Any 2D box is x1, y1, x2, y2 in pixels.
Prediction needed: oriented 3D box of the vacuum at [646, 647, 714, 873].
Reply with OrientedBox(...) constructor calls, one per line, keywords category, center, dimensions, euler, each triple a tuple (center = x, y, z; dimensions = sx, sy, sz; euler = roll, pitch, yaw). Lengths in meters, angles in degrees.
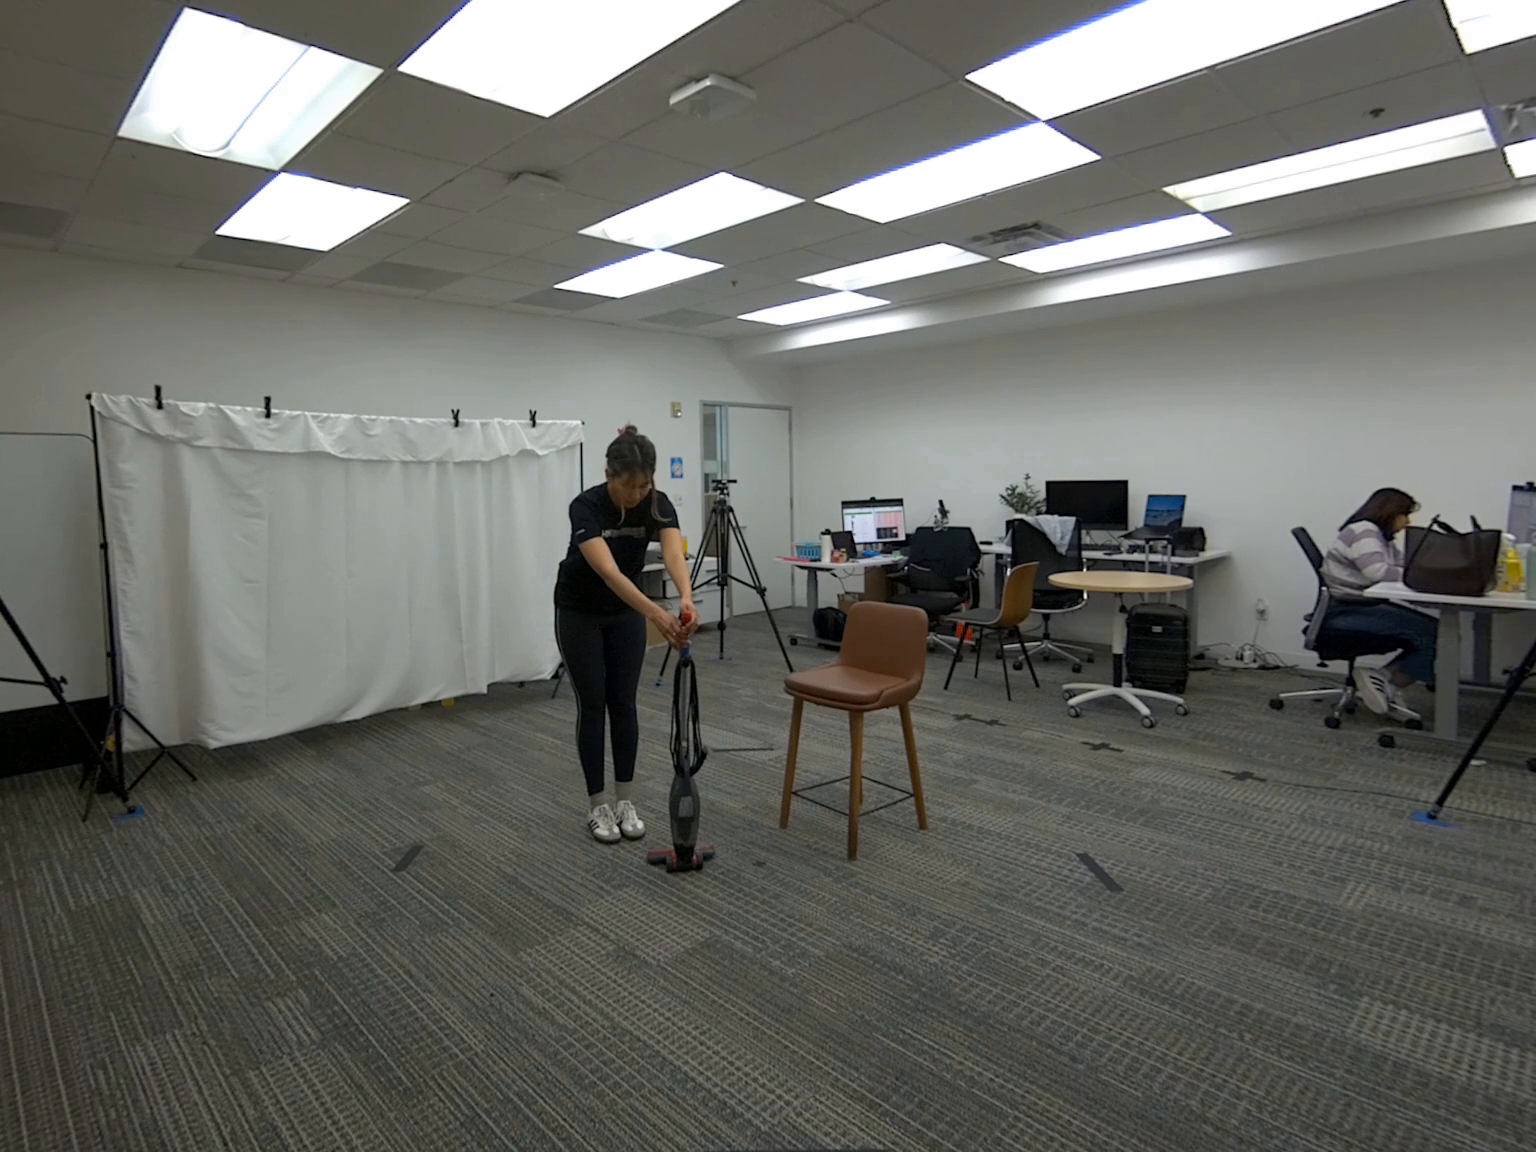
OrientedBox(category="vacuum", center=(-0.280, 0.585, 2.902), dimensions=(0.250, 1.029, 0.148), euler=(-2, 26, -12))
